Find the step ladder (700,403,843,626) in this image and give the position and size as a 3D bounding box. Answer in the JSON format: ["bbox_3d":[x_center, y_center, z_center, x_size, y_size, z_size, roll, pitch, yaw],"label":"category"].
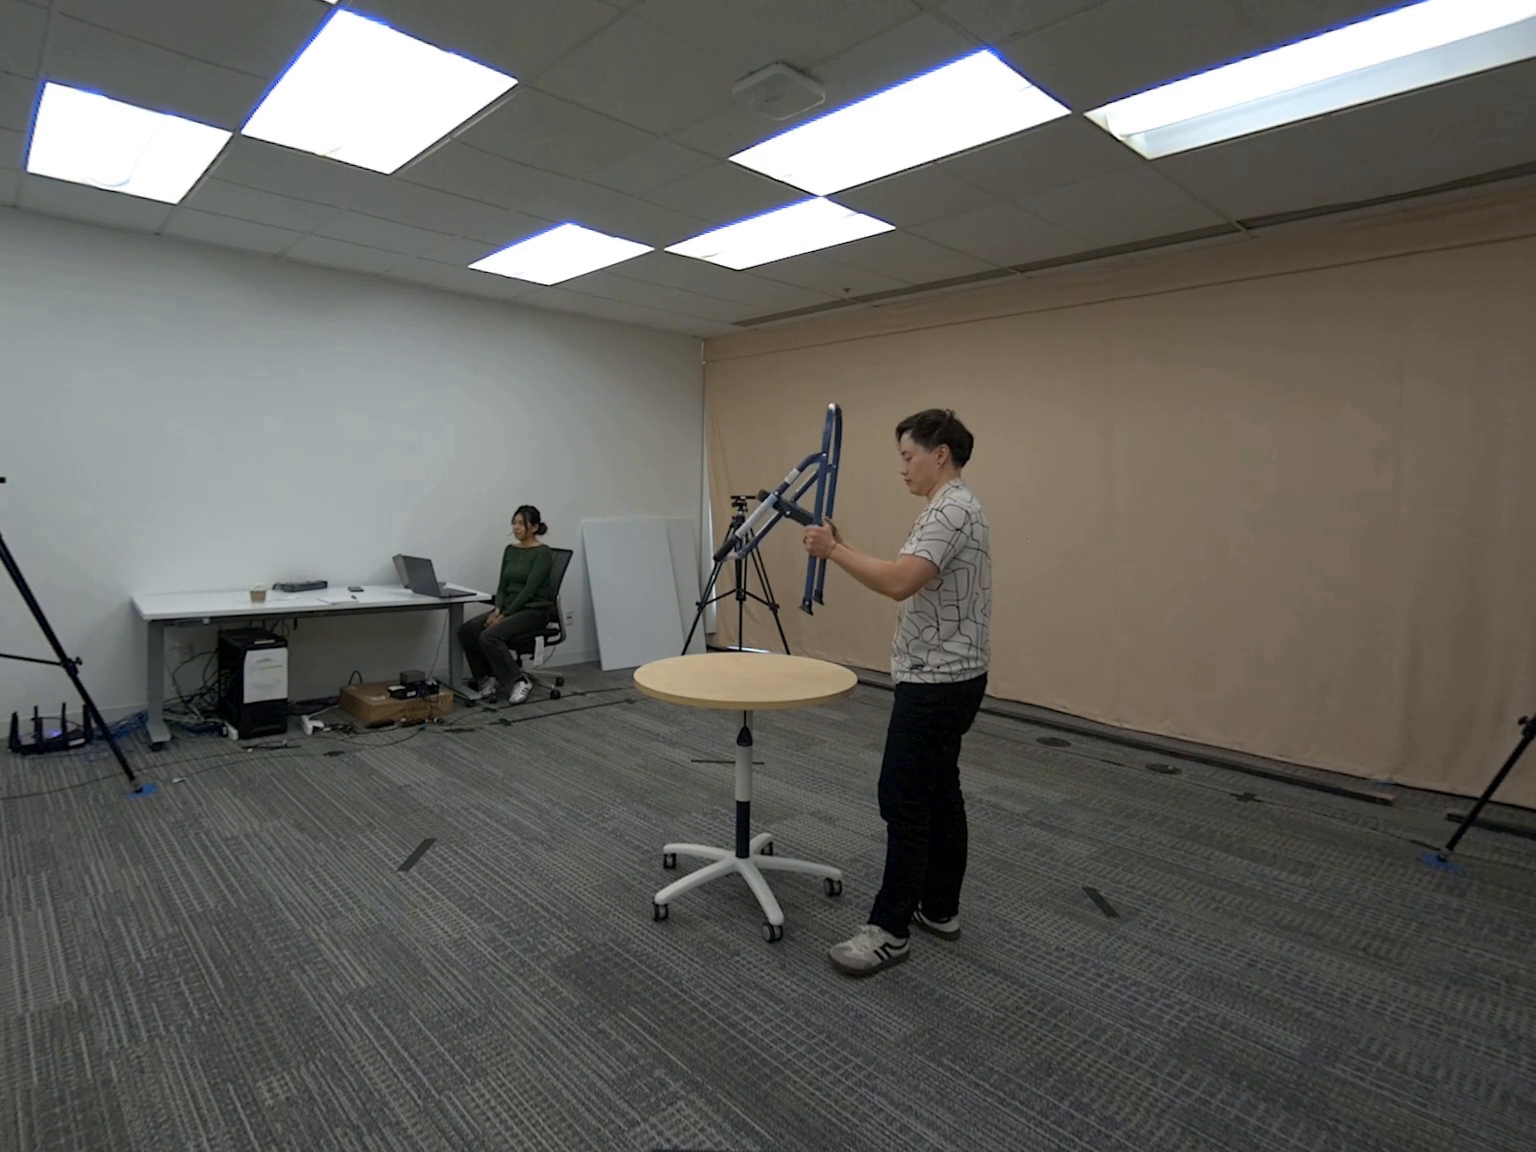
[{"bbox_3d":[0.140,-0.236,2.714,0.352,0.605,0.428,28,5,7],"label":"step ladder"}]
